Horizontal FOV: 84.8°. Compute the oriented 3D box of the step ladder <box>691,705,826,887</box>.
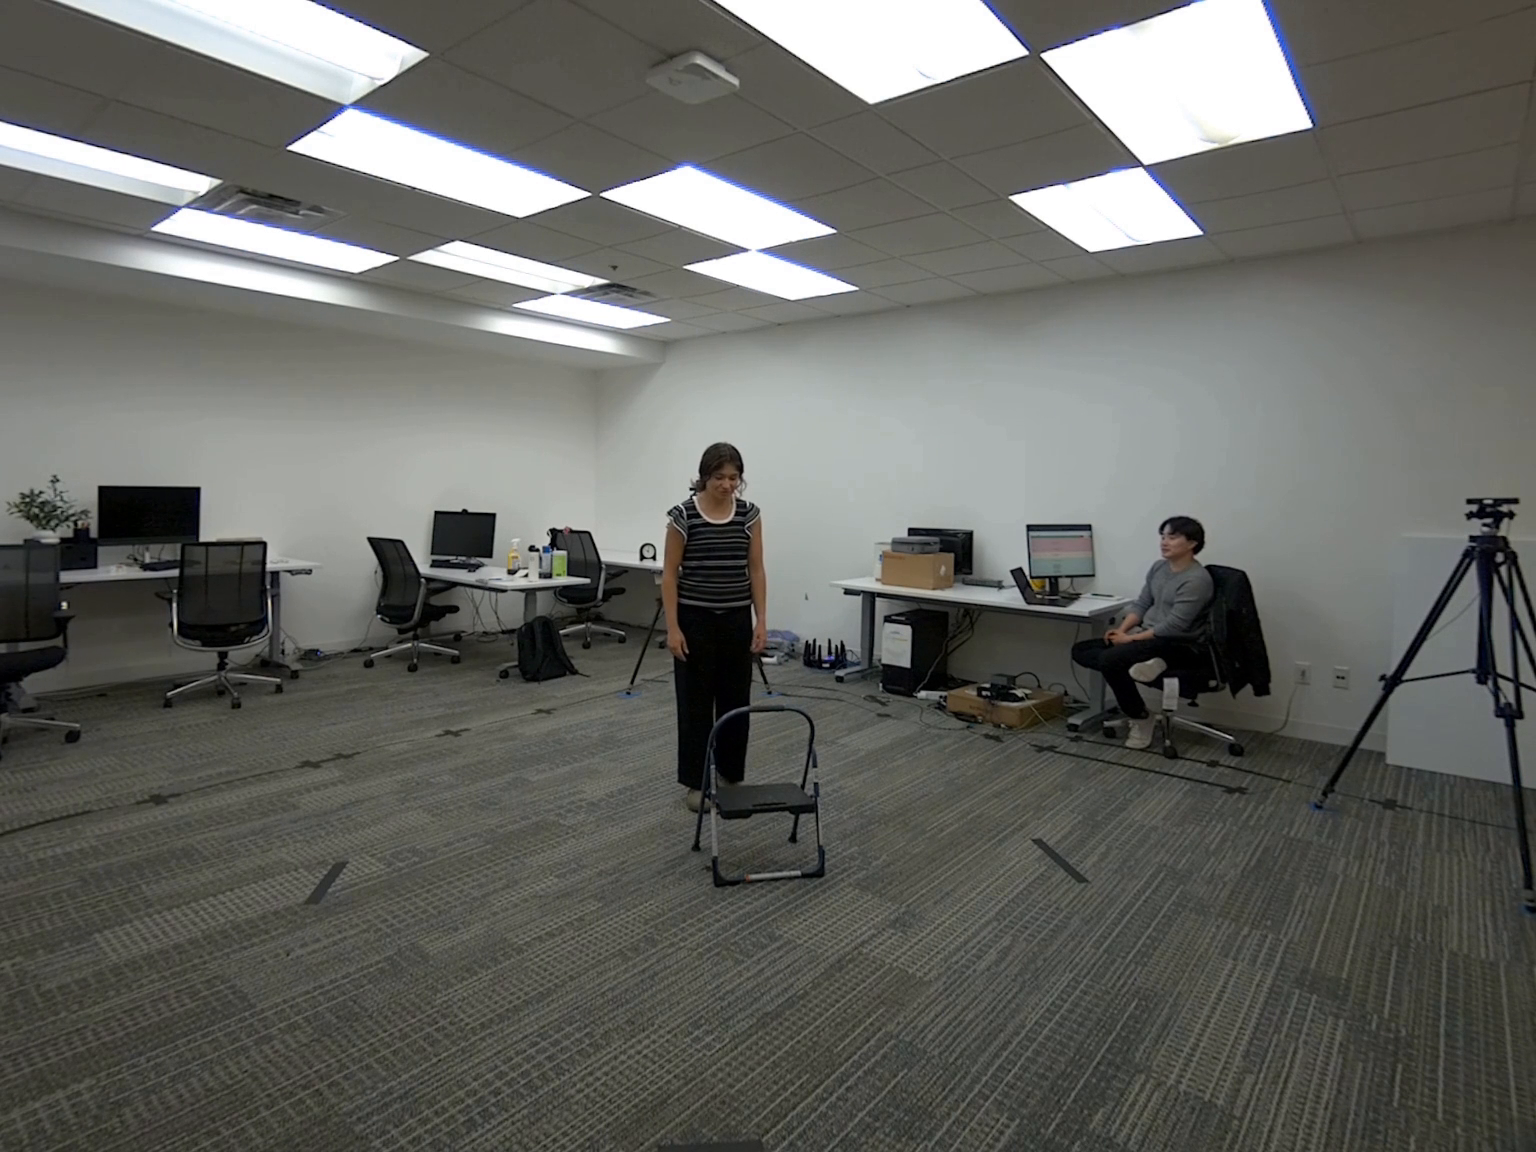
[{"bbox_3d":[-0.043,0.764,3.165,0.423,0.605,0.356,0,3,-16],"label":"step ladder"}]
